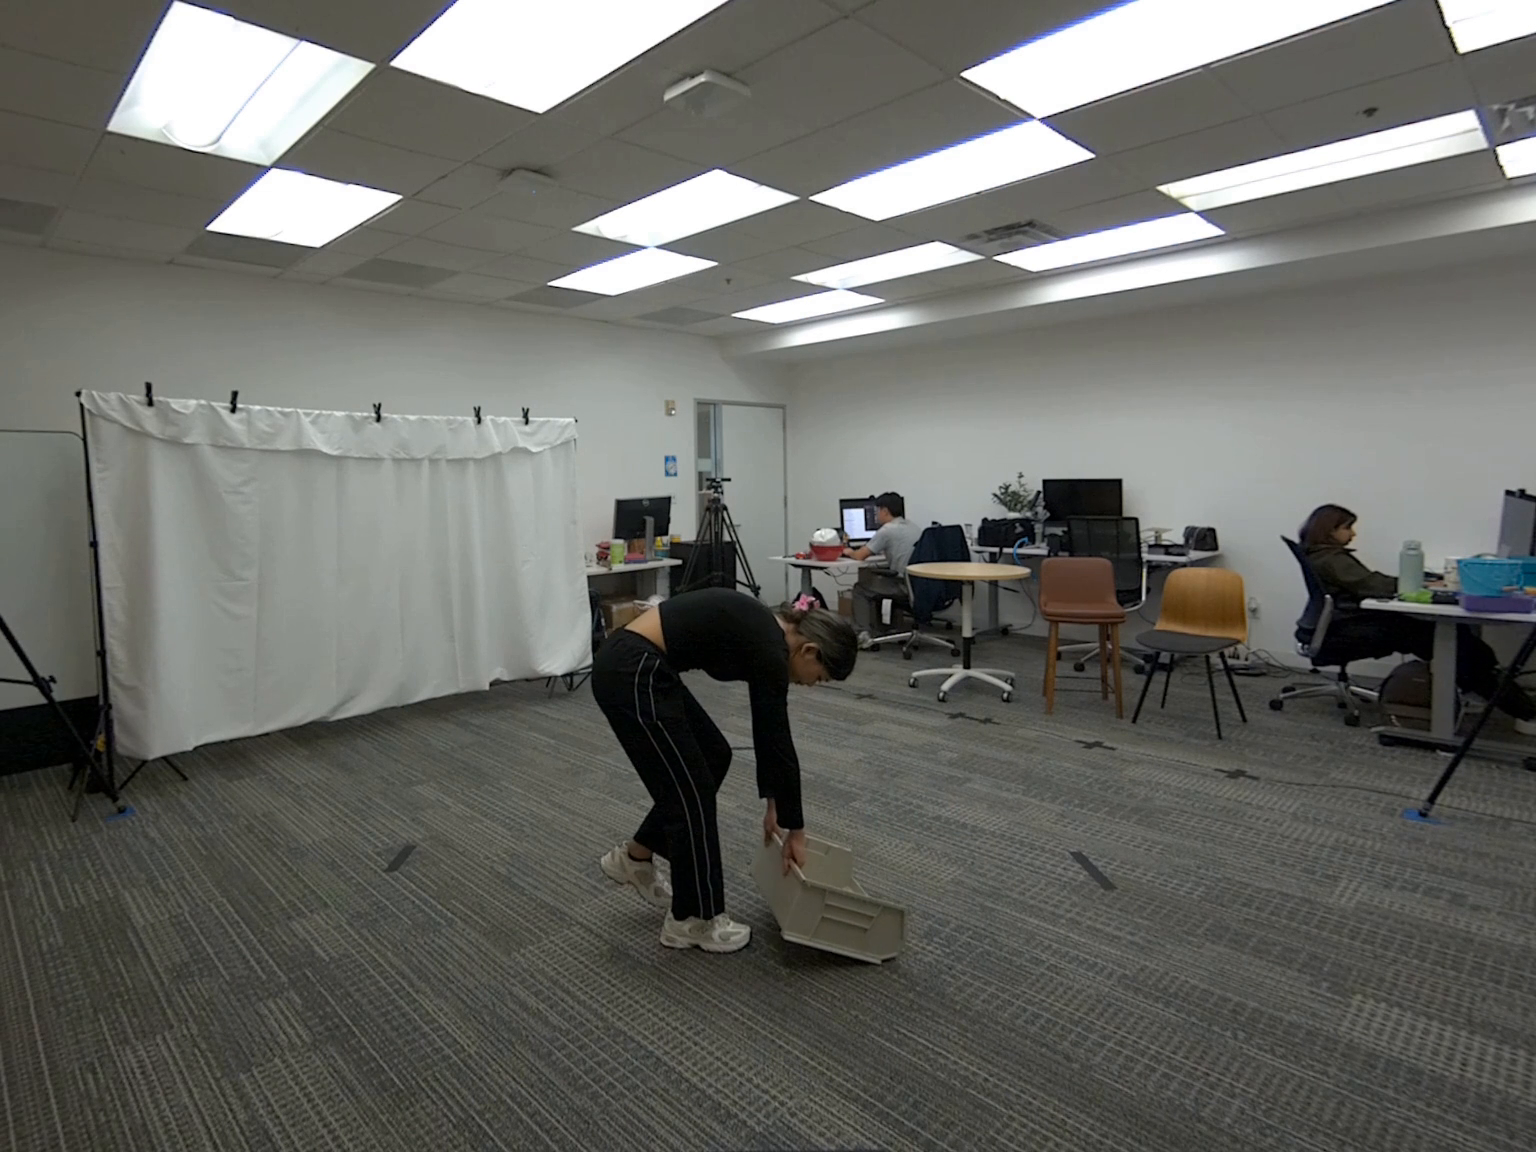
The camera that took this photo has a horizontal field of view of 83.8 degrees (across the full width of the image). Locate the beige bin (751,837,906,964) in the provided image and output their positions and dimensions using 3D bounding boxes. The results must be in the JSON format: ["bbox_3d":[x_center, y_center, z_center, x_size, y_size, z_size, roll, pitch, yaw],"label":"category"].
[{"bbox_3d":[0.178,0.962,2.616,0.370,0.189,0.430,21,1,-17],"label":"beige bin"}]
